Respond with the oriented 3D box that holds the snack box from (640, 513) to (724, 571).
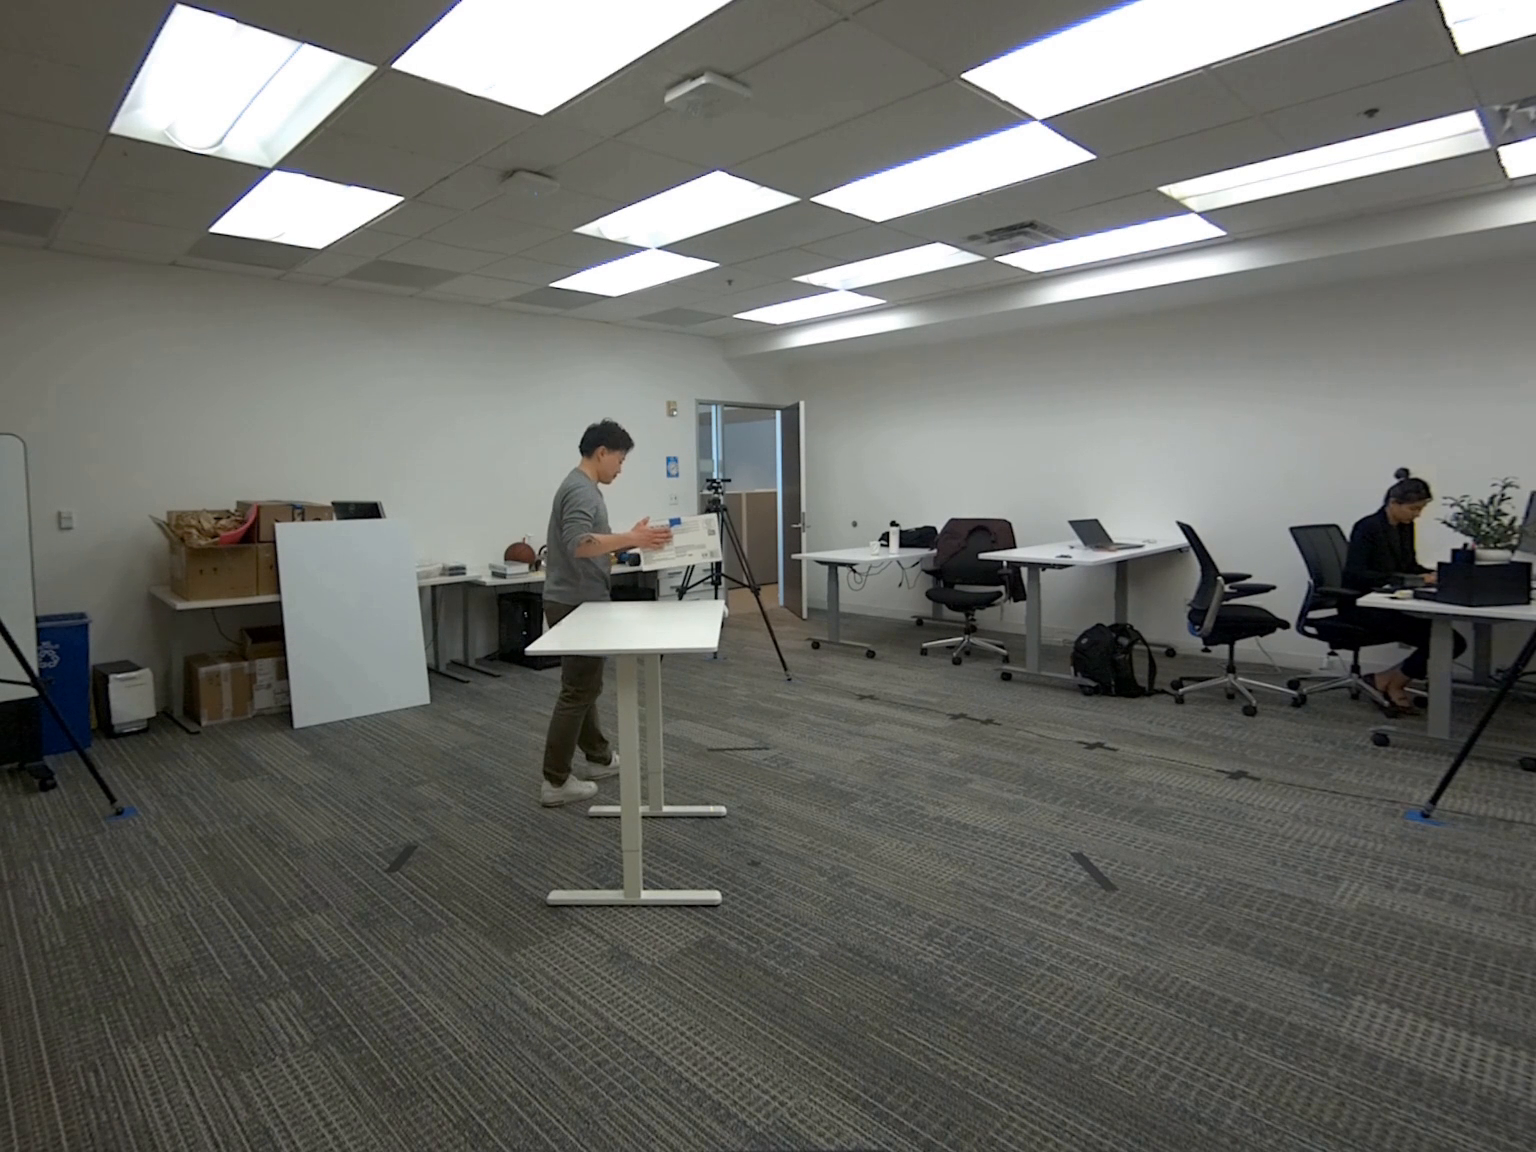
[{"bbox_3d":[-0.381,-0.141,3.755,0.340,0.206,0.405,-8,1,0],"label":"snack box"}]
